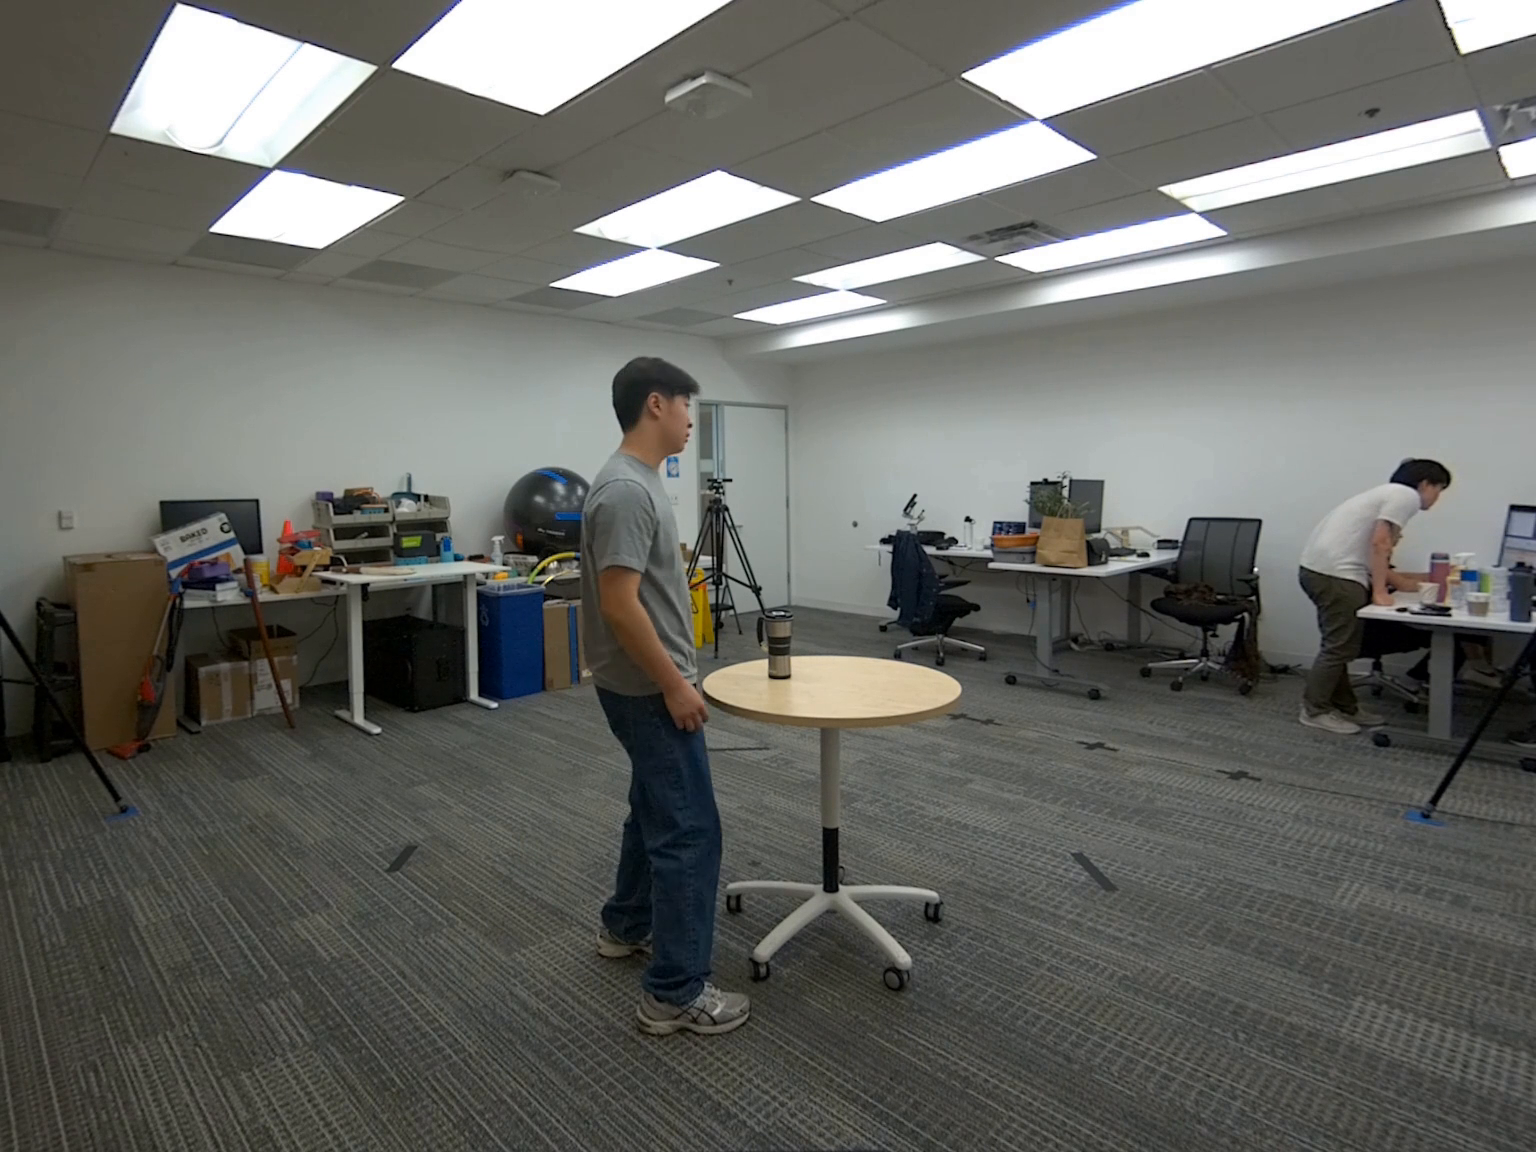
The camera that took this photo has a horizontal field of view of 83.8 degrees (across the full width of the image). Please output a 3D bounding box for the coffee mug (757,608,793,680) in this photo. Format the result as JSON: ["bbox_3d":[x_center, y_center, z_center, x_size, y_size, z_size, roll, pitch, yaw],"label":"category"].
[{"bbox_3d":[0.029,0.212,2.656,0.086,0.201,0.125,-7,9,-21],"label":"coffee mug"}]
